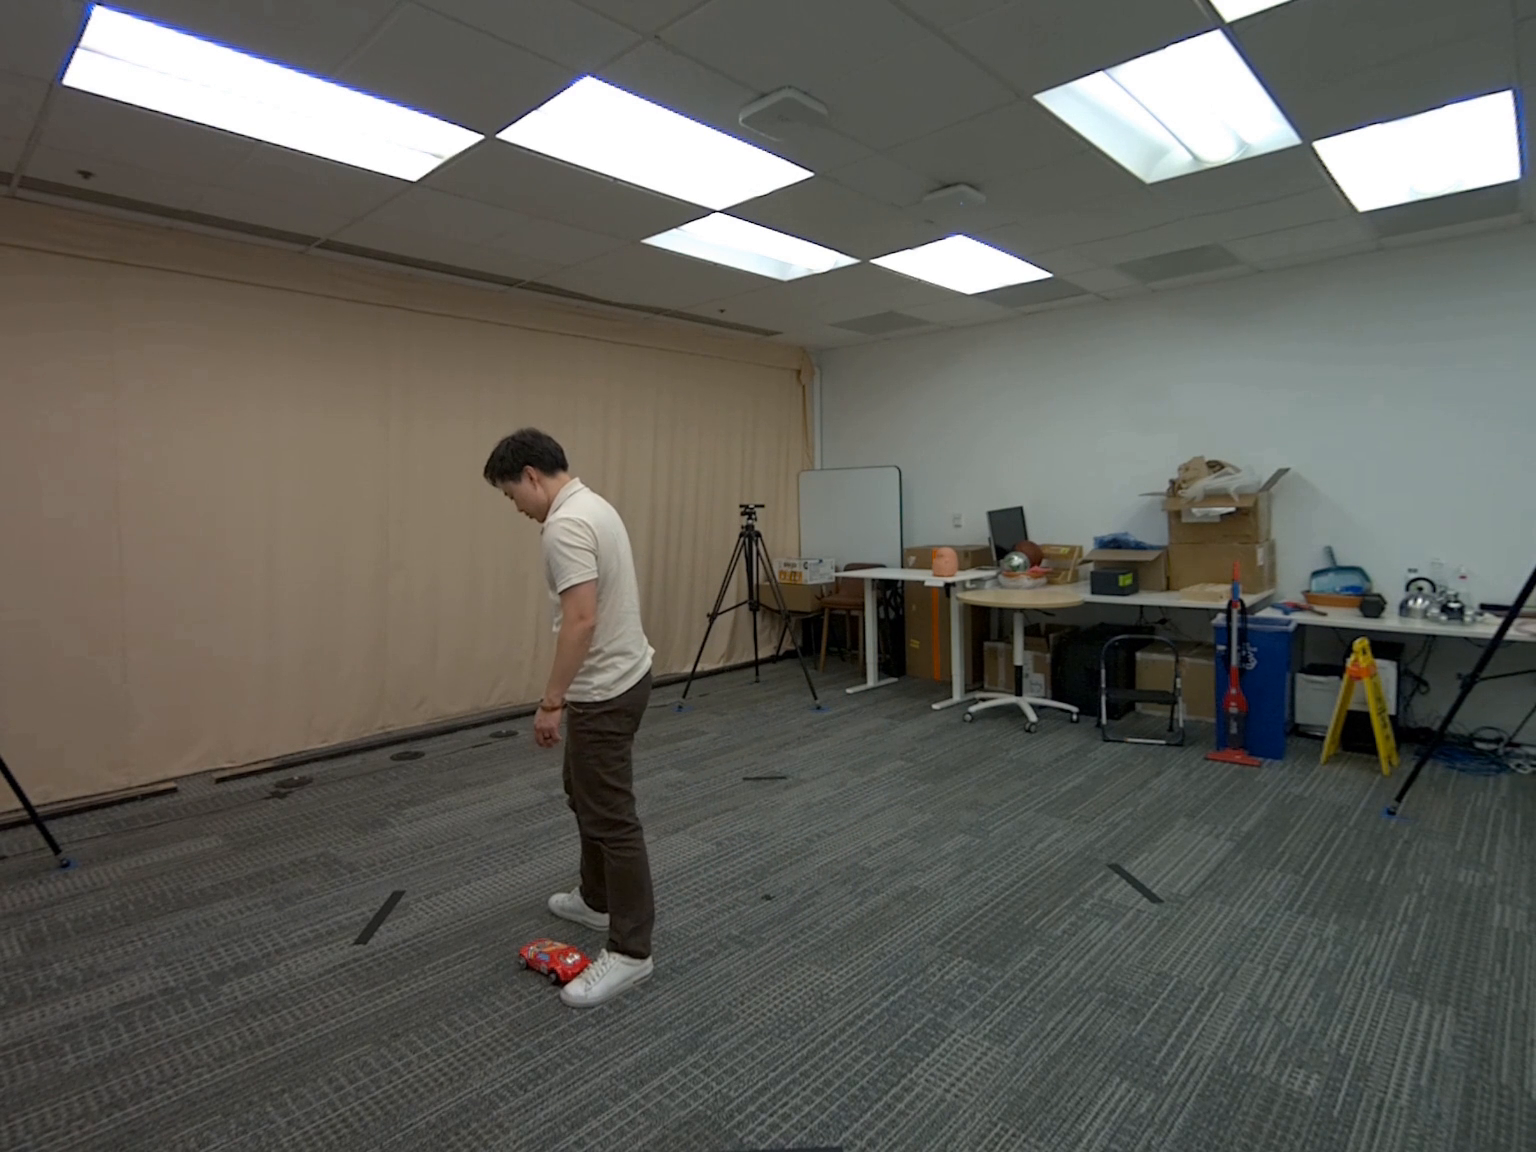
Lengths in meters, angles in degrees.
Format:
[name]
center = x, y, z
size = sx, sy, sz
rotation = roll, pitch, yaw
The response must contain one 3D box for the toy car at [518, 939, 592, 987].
[toy car]
center = -0.643, 1.162, 2.528
size = 0.261, 0.083, 0.126
rotation = -10, -1, 37
